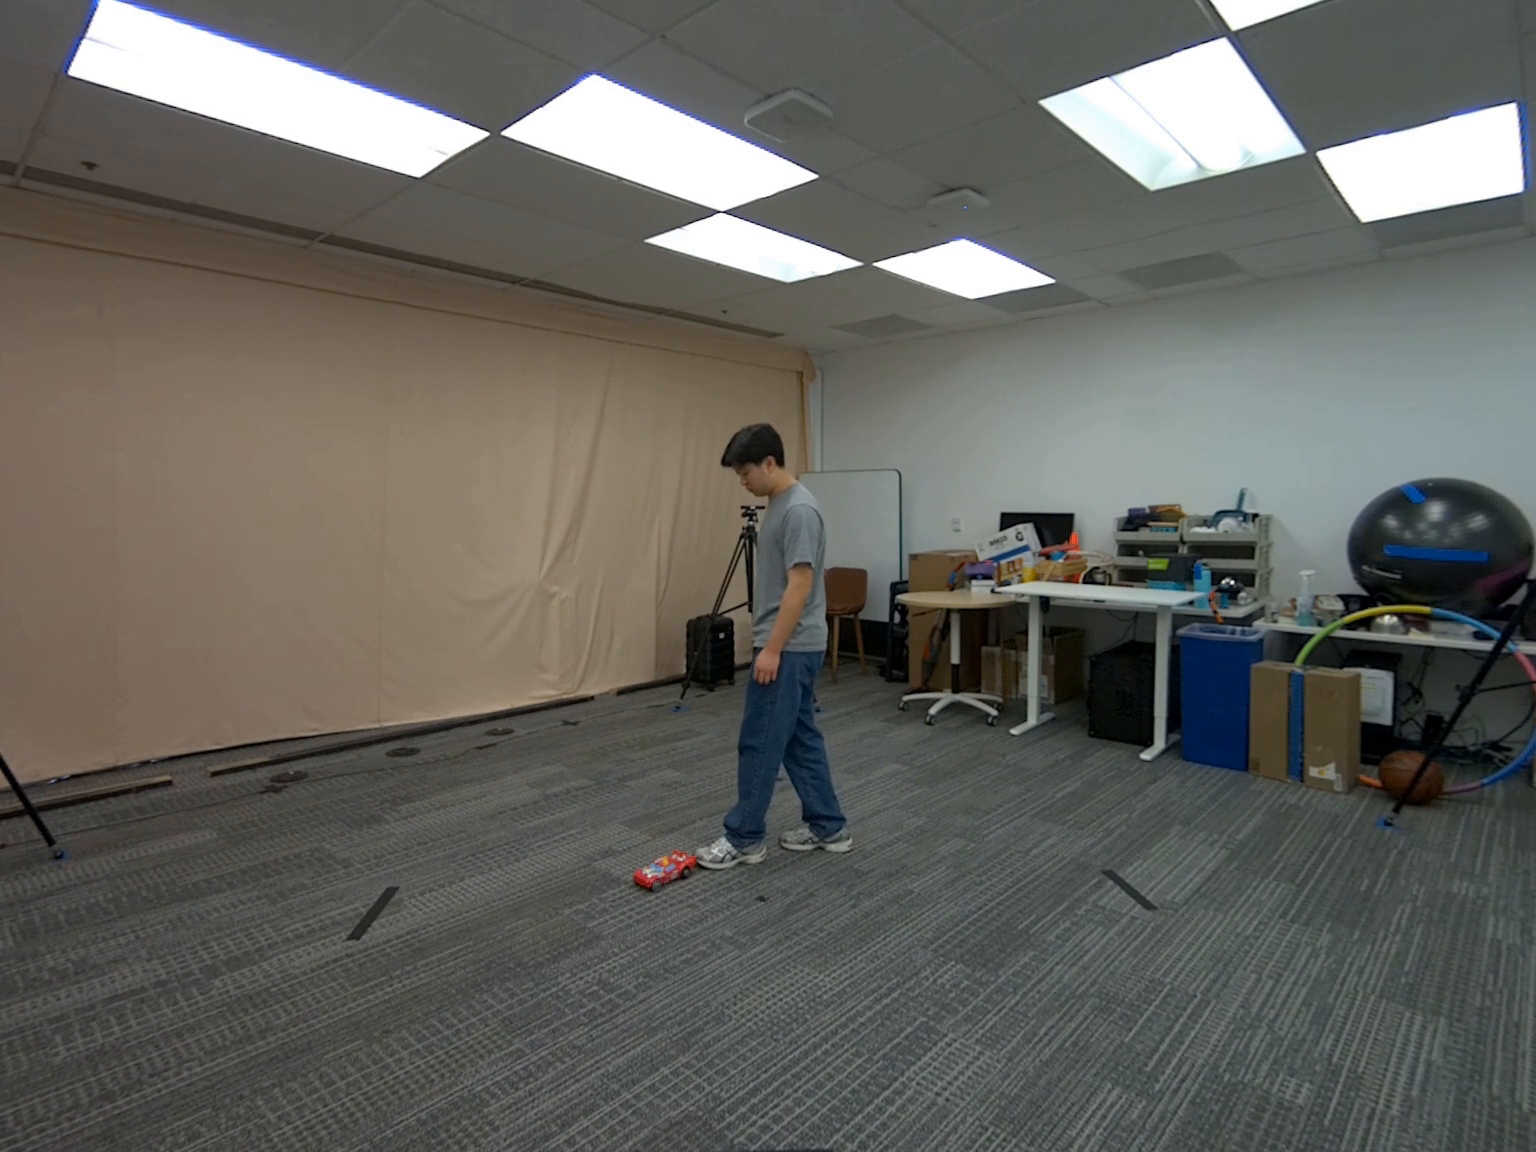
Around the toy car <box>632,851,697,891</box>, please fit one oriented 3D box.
[{"bbox_3d":[-0.373,1.097,3.151,0.134,0.082,0.248,3,17,43],"label":"toy car"}]
